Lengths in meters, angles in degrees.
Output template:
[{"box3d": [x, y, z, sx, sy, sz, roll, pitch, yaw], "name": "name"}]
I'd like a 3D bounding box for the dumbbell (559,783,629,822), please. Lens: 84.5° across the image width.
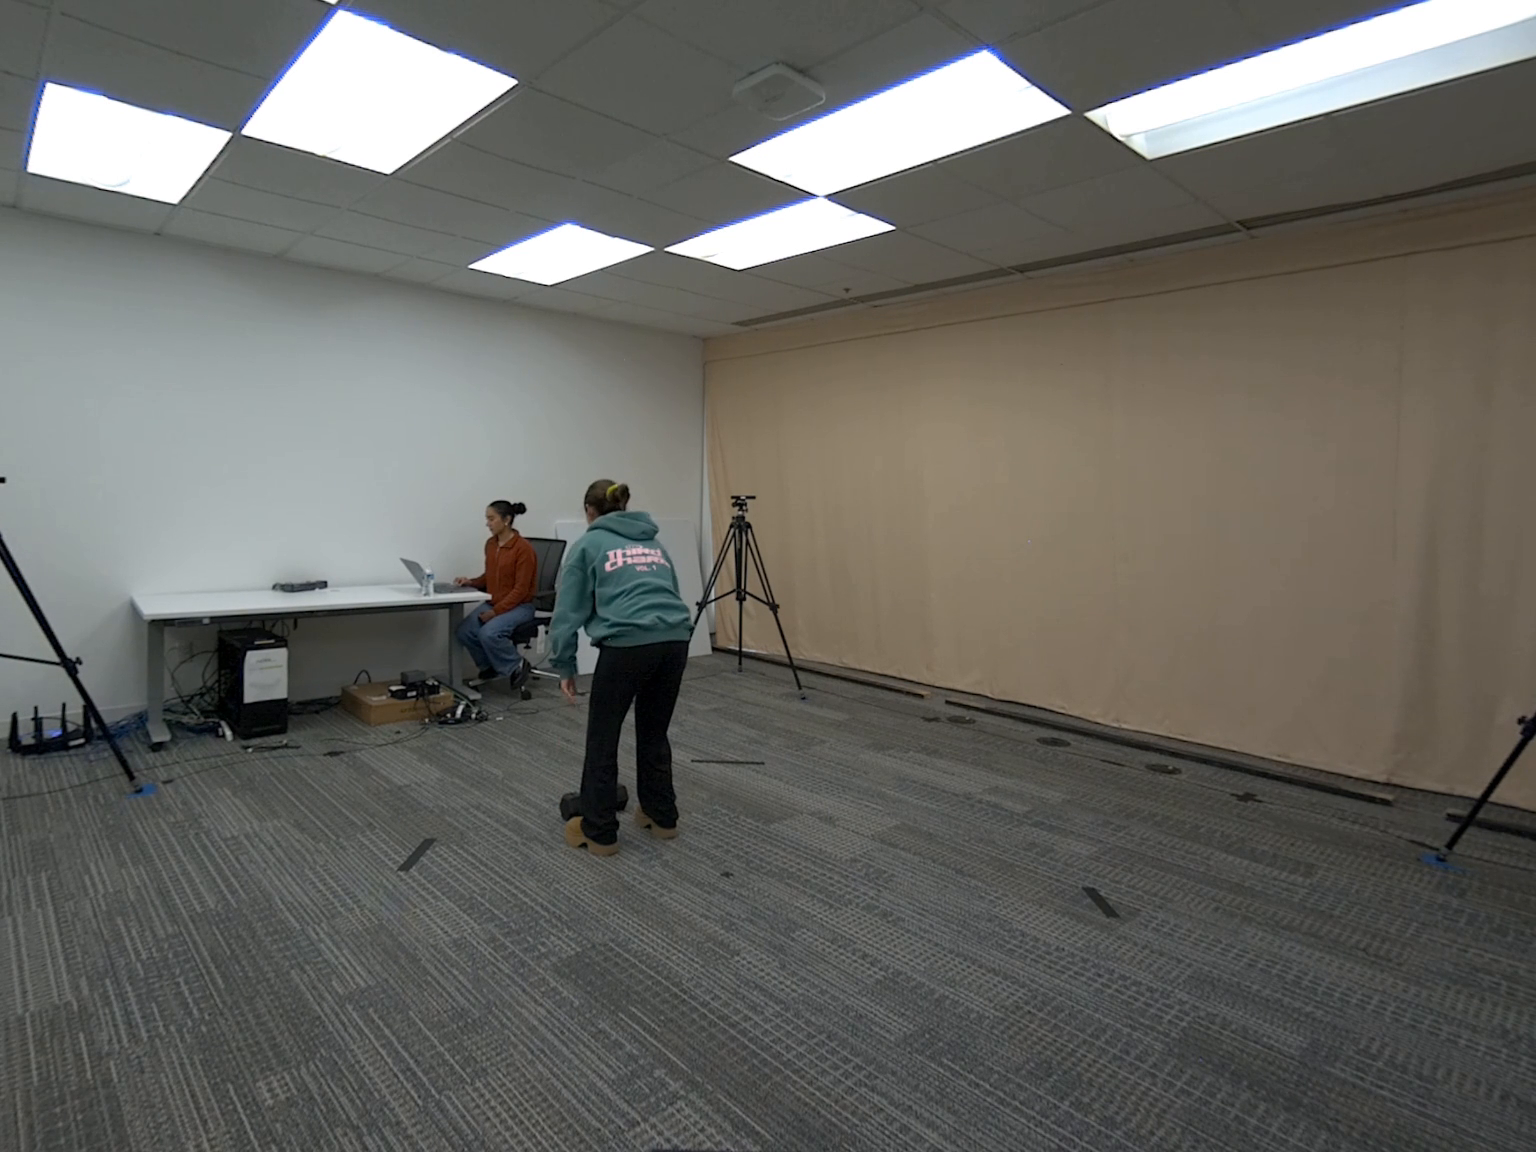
[{"box3d": [-0.759, 0.983, 3.660, 0.287, 0.125, 0.109, -3, -26, -40], "name": "dumbbell"}]
